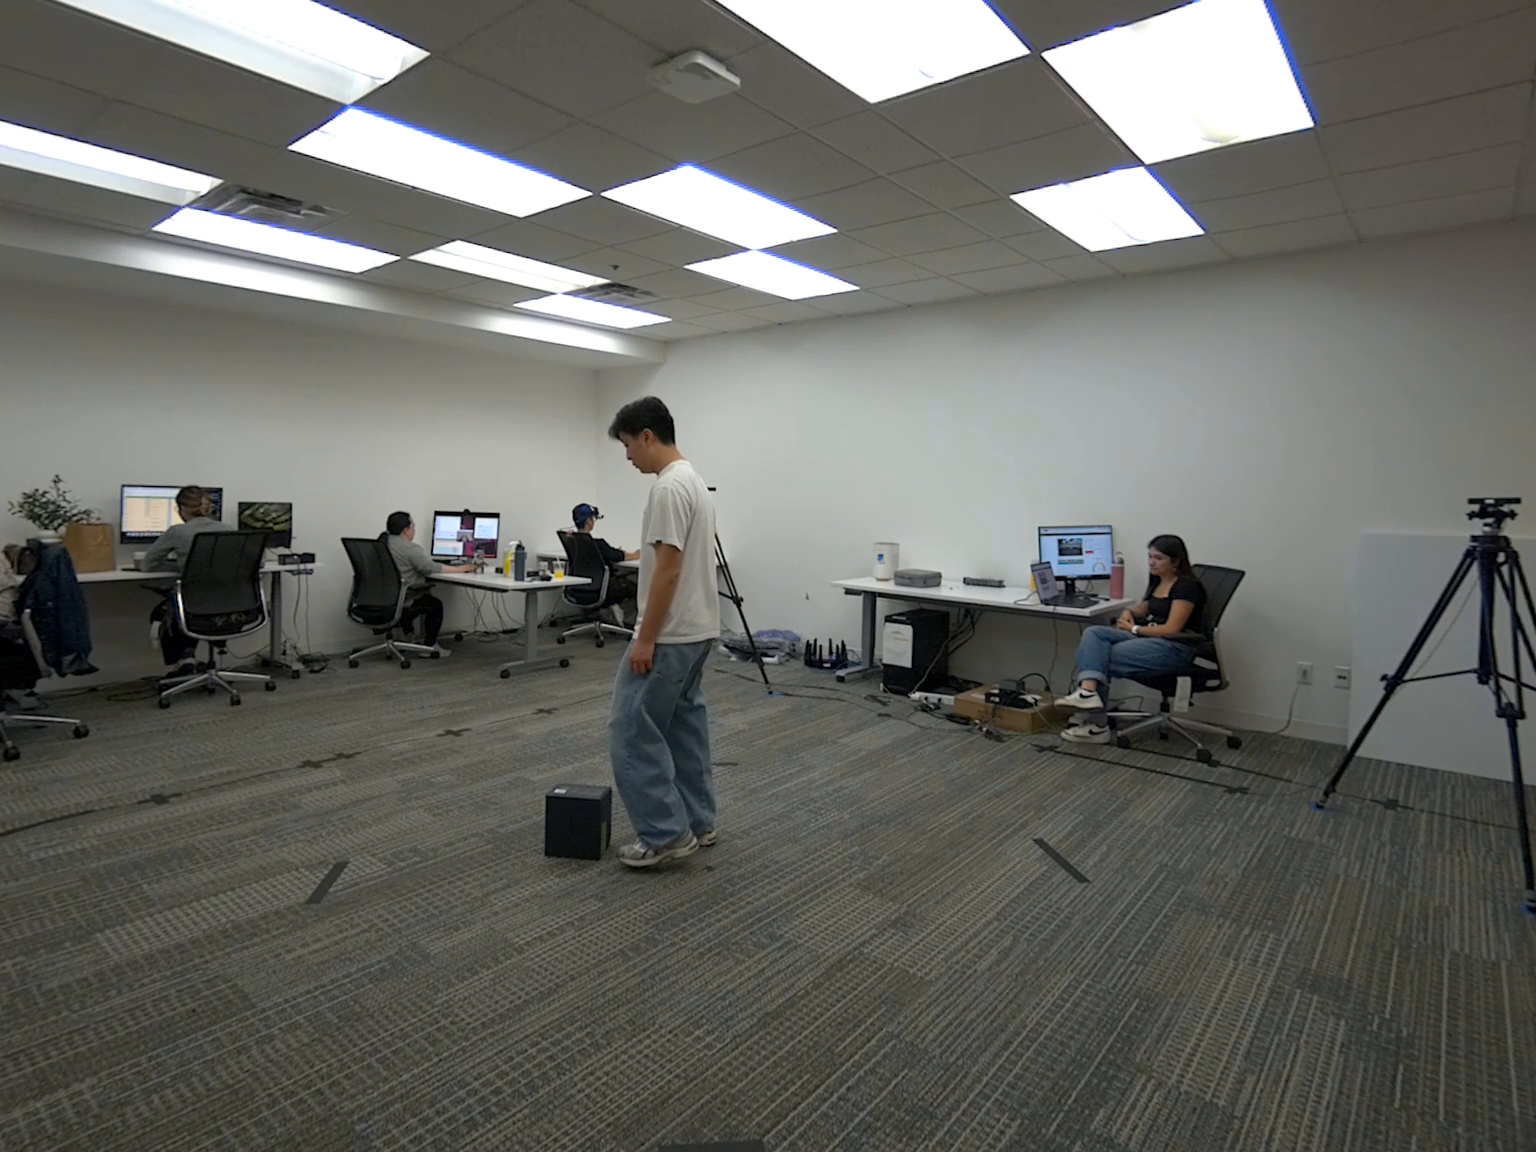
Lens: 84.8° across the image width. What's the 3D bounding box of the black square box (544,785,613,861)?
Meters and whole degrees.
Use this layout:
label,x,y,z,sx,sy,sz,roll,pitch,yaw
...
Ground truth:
label,x,y,z,sx,sy,sz,roll,pitch,yaw
black square box,-0.733,0.926,3.236,0.219,0.227,0.155,1,3,6
